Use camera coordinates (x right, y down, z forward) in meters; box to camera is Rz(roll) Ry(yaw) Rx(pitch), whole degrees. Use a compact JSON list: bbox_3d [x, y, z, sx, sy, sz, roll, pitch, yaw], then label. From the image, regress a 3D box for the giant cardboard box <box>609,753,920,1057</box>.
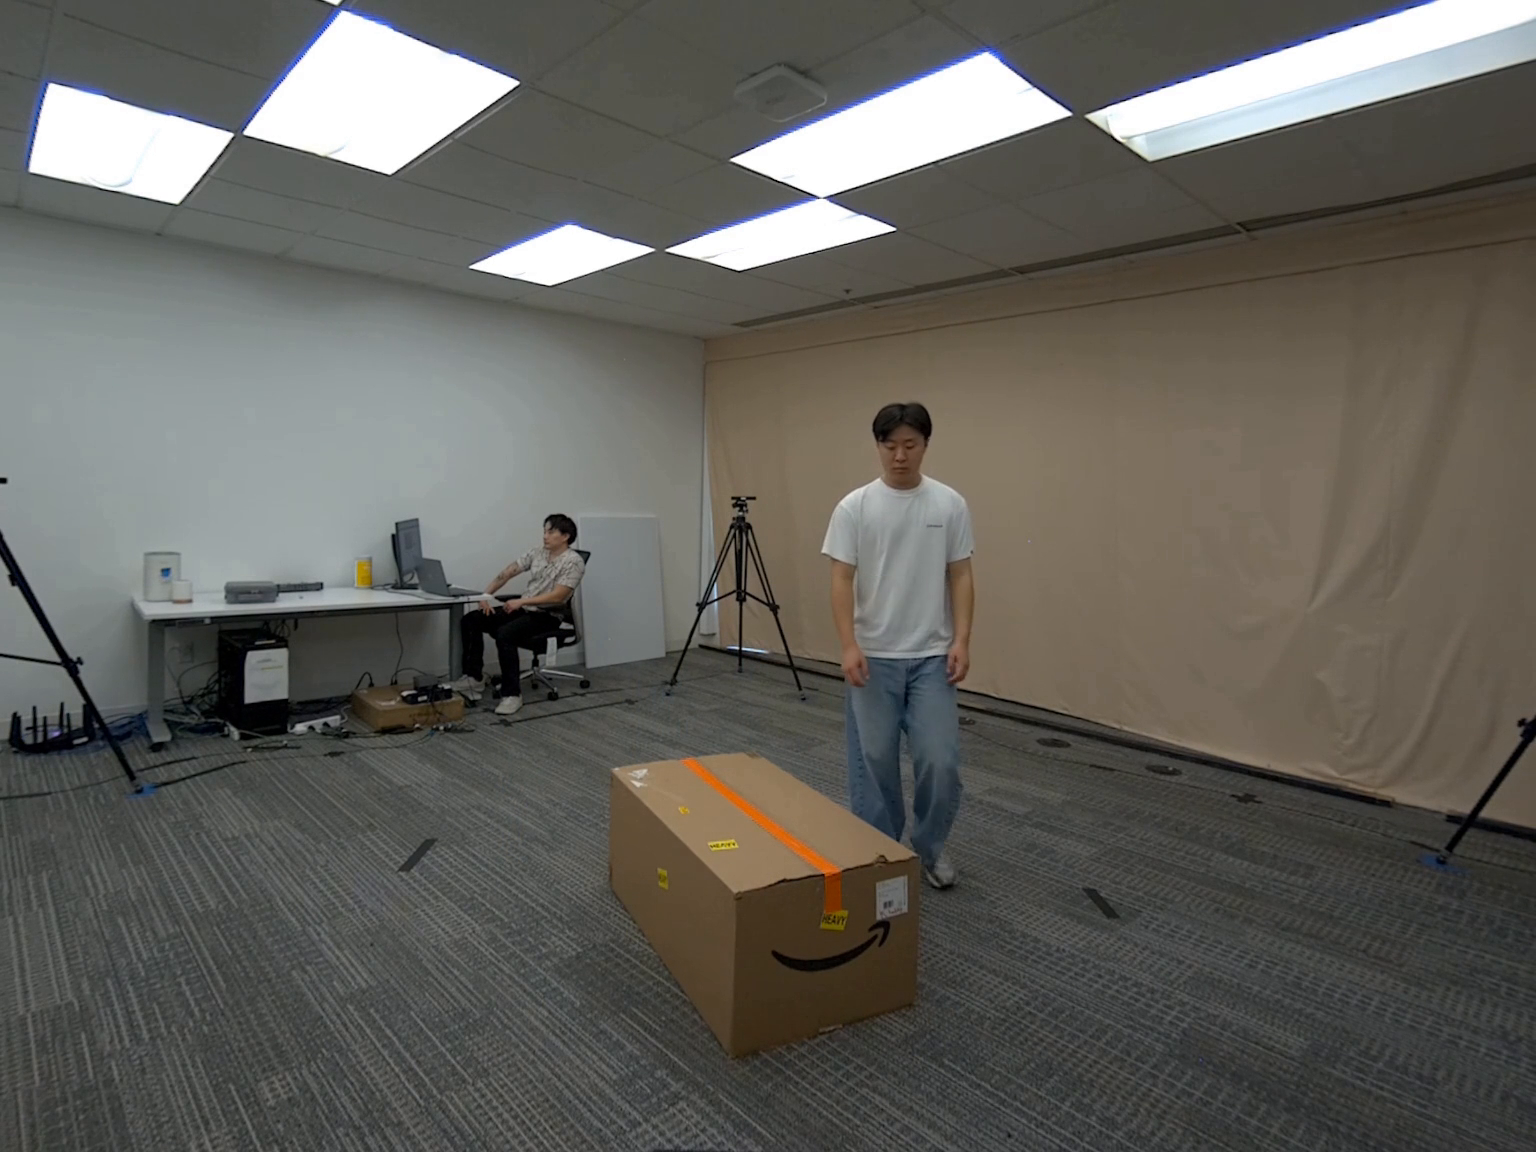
[{"bbox_3d":[-0.078,0.936,2.649,0.567,0.425,1.048,-1,6,-27],"label":"giant cardboard box"}]
